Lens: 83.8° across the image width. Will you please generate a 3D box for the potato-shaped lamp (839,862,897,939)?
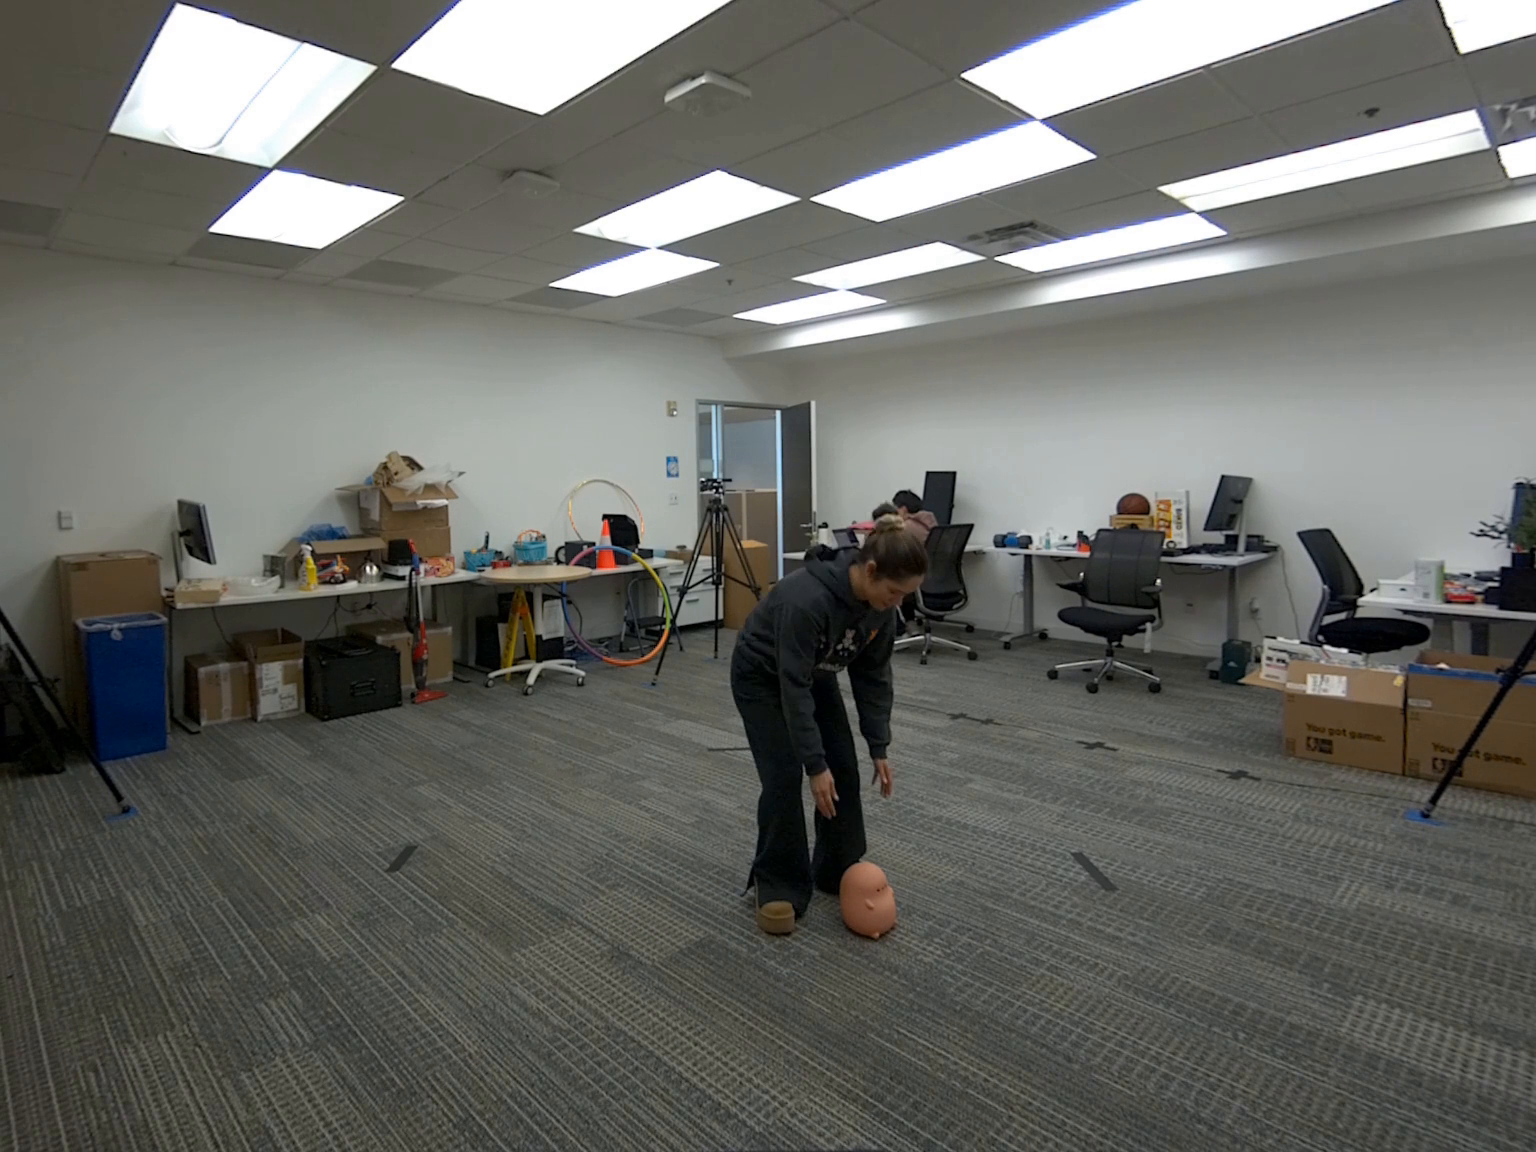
[{"bbox_3d":[0.303,0.991,2.633,0.177,0.197,0.160,5,8,43],"label":"potato-shaped lamp"}]
